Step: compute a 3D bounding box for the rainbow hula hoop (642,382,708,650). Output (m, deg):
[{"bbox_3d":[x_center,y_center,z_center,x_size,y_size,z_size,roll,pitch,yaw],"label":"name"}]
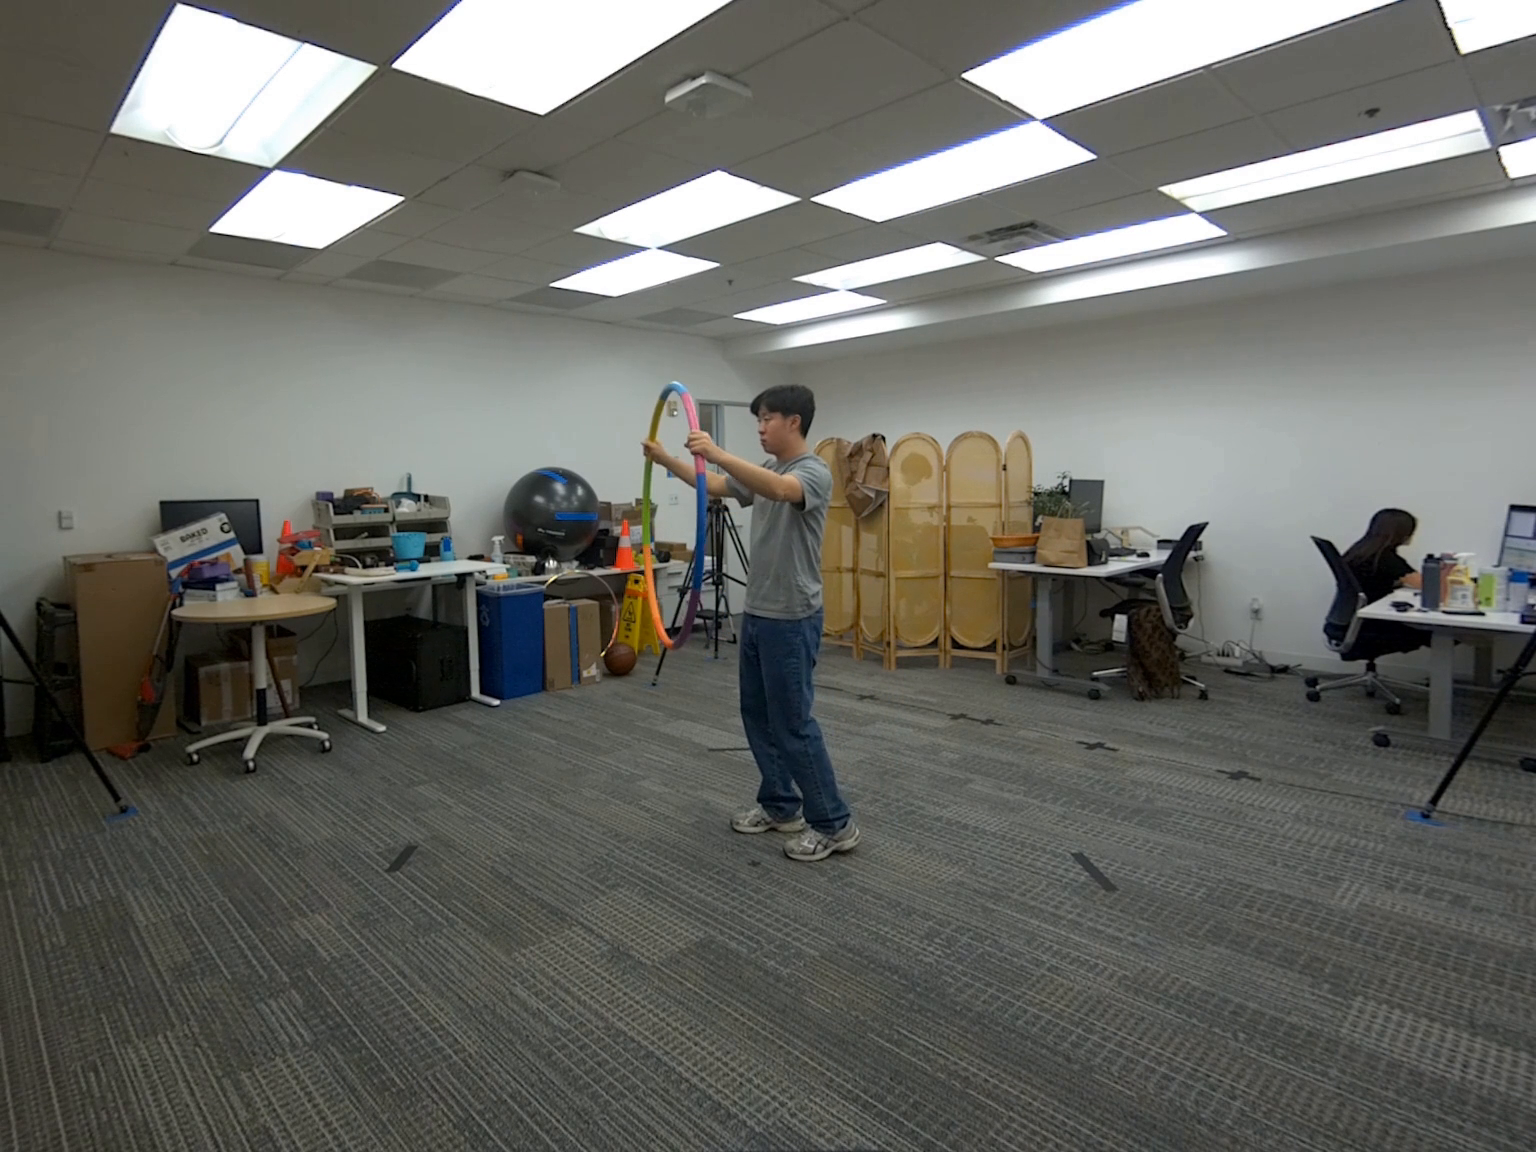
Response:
[{"bbox_3d":[-0.364,-0.221,3.188,0.035,0.976,0.997,0,4,-18],"label":"rainbow hula hoop"}]
